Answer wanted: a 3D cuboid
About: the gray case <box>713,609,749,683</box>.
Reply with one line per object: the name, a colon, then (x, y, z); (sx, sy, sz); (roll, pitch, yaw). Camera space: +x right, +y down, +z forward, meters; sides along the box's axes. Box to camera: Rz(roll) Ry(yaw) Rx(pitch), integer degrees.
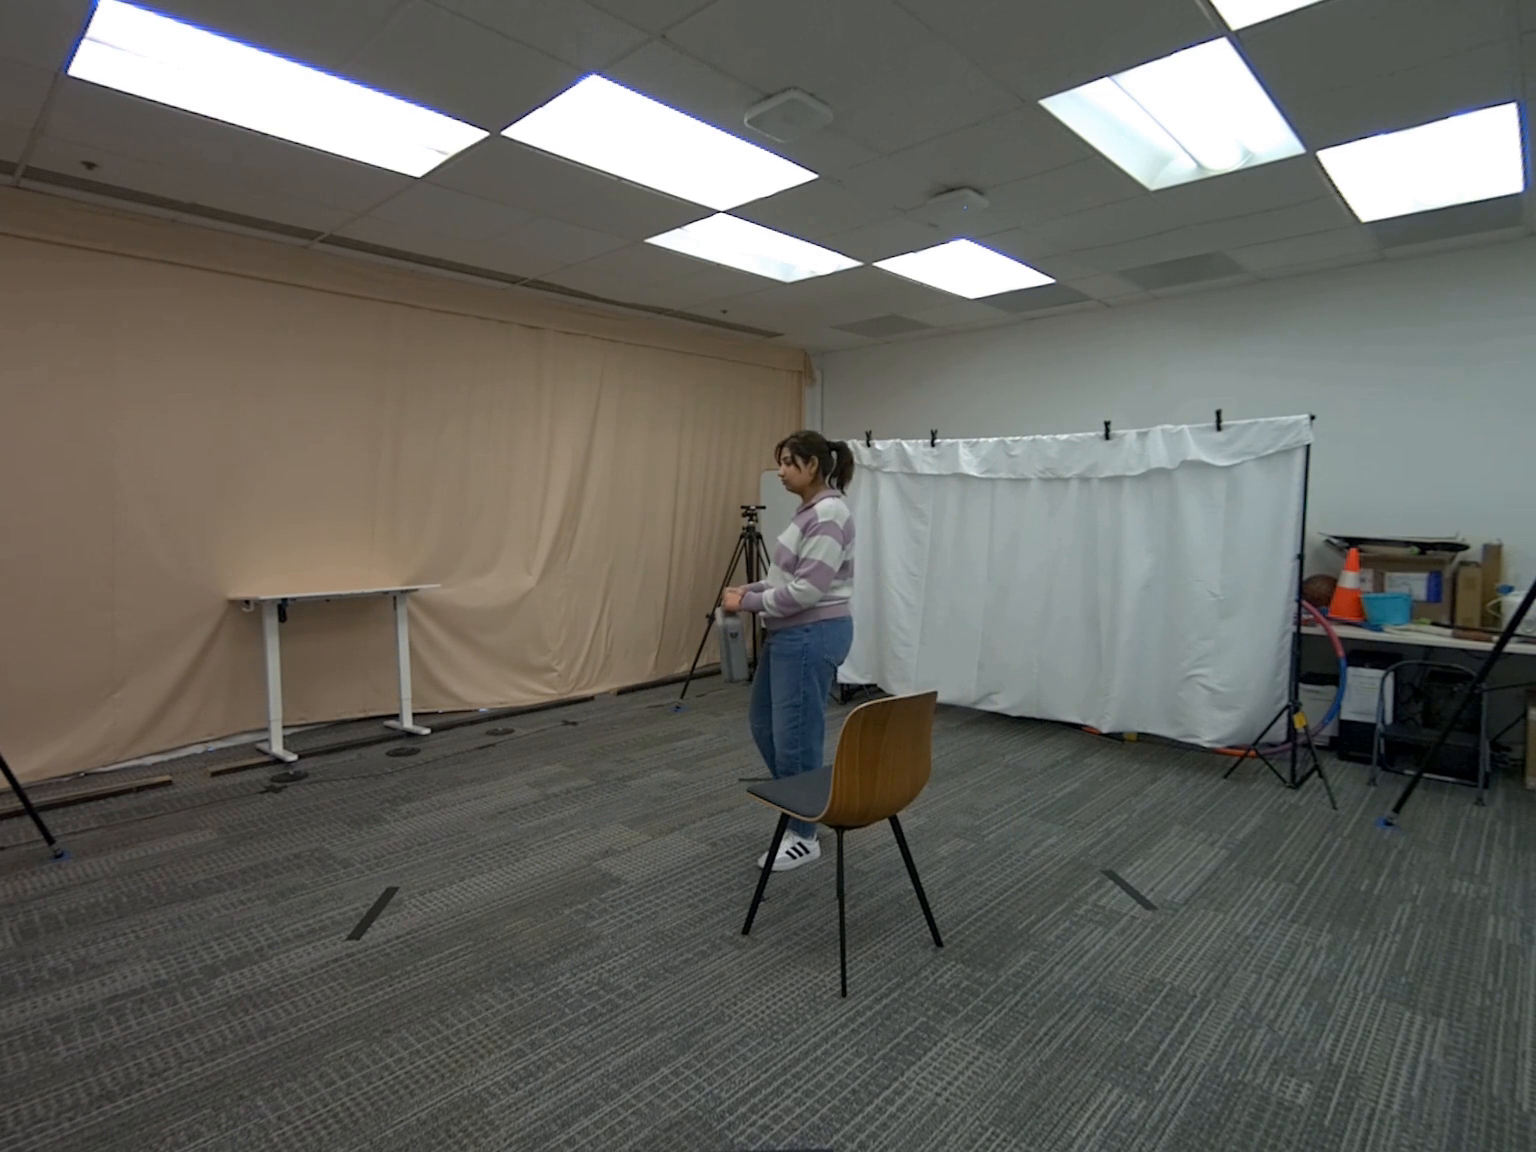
gray case: (-0.134, 0.262, 3.309); (0.104, 0.258, 0.259); (-6, 12, -1)
